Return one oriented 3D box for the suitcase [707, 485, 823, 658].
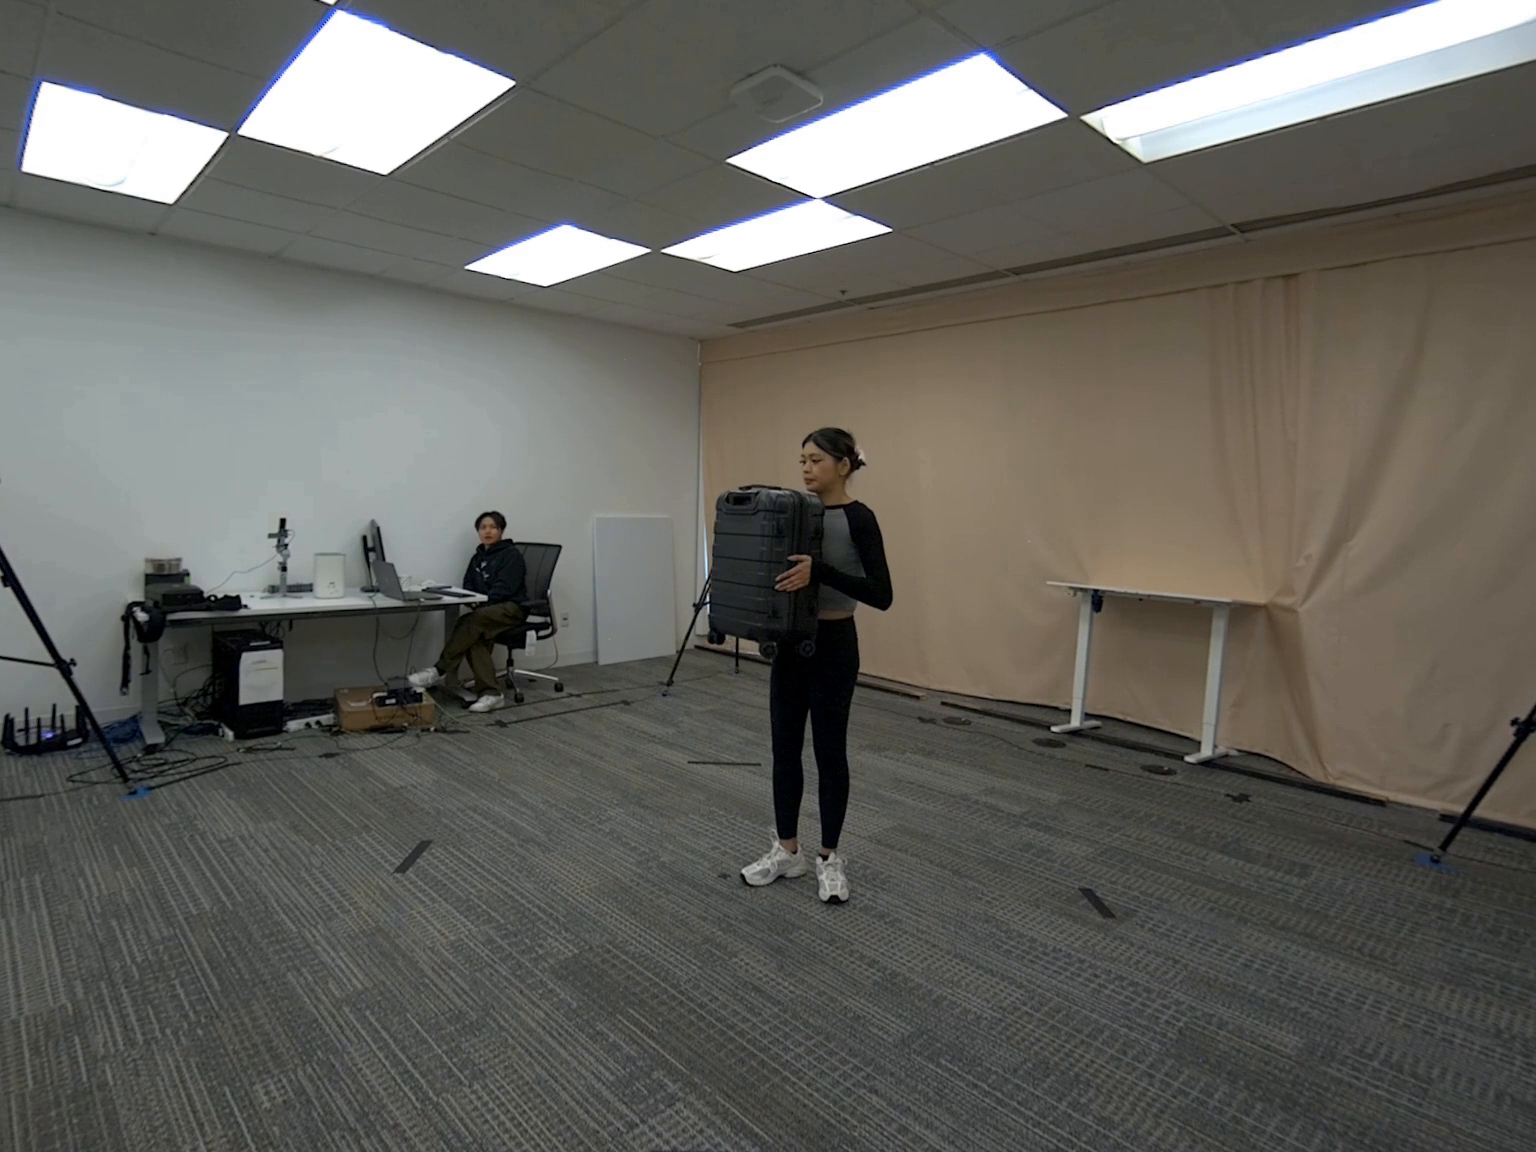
[{"bbox_3d":[-0.017,-0.027,2.832,0.242,0.549,0.384,3,0,-36],"label":"suitcase"}]
